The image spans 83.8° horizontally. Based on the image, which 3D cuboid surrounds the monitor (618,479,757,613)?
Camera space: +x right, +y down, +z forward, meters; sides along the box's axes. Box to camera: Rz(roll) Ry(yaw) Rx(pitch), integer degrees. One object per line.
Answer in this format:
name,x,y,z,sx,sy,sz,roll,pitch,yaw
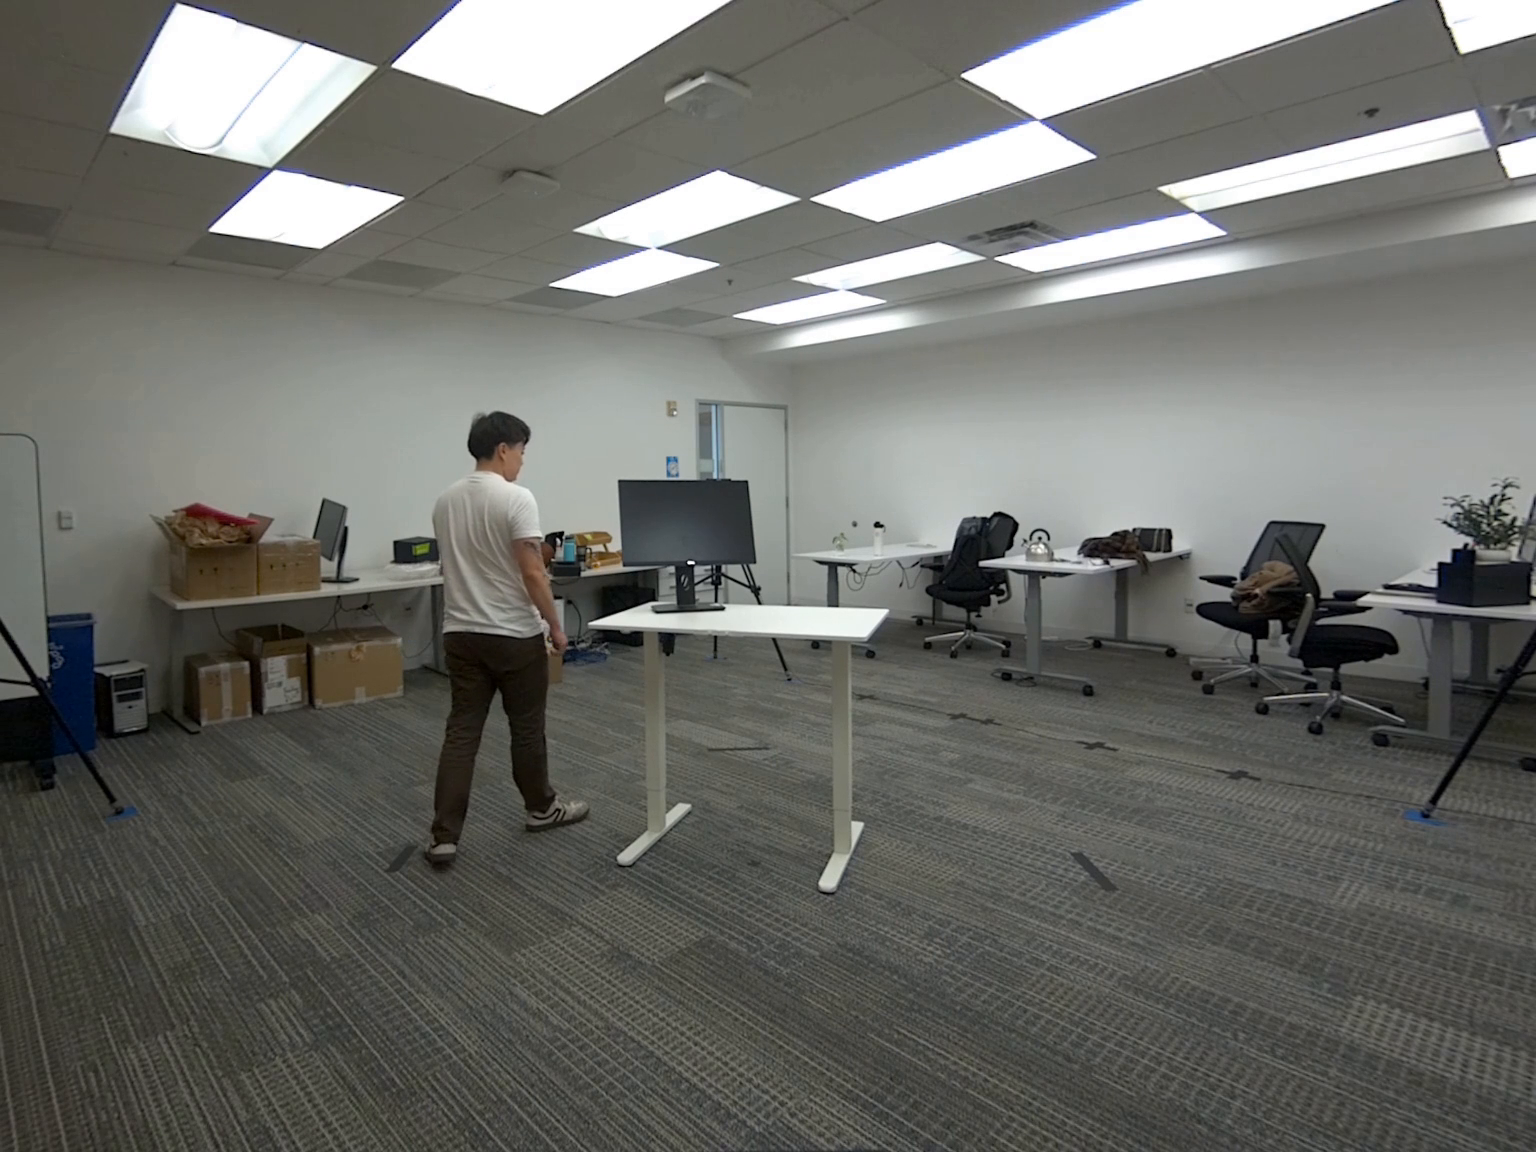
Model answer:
monitor,-0.326,-0.123,3.408,0.530,0.522,0.190,-2,1,-19
